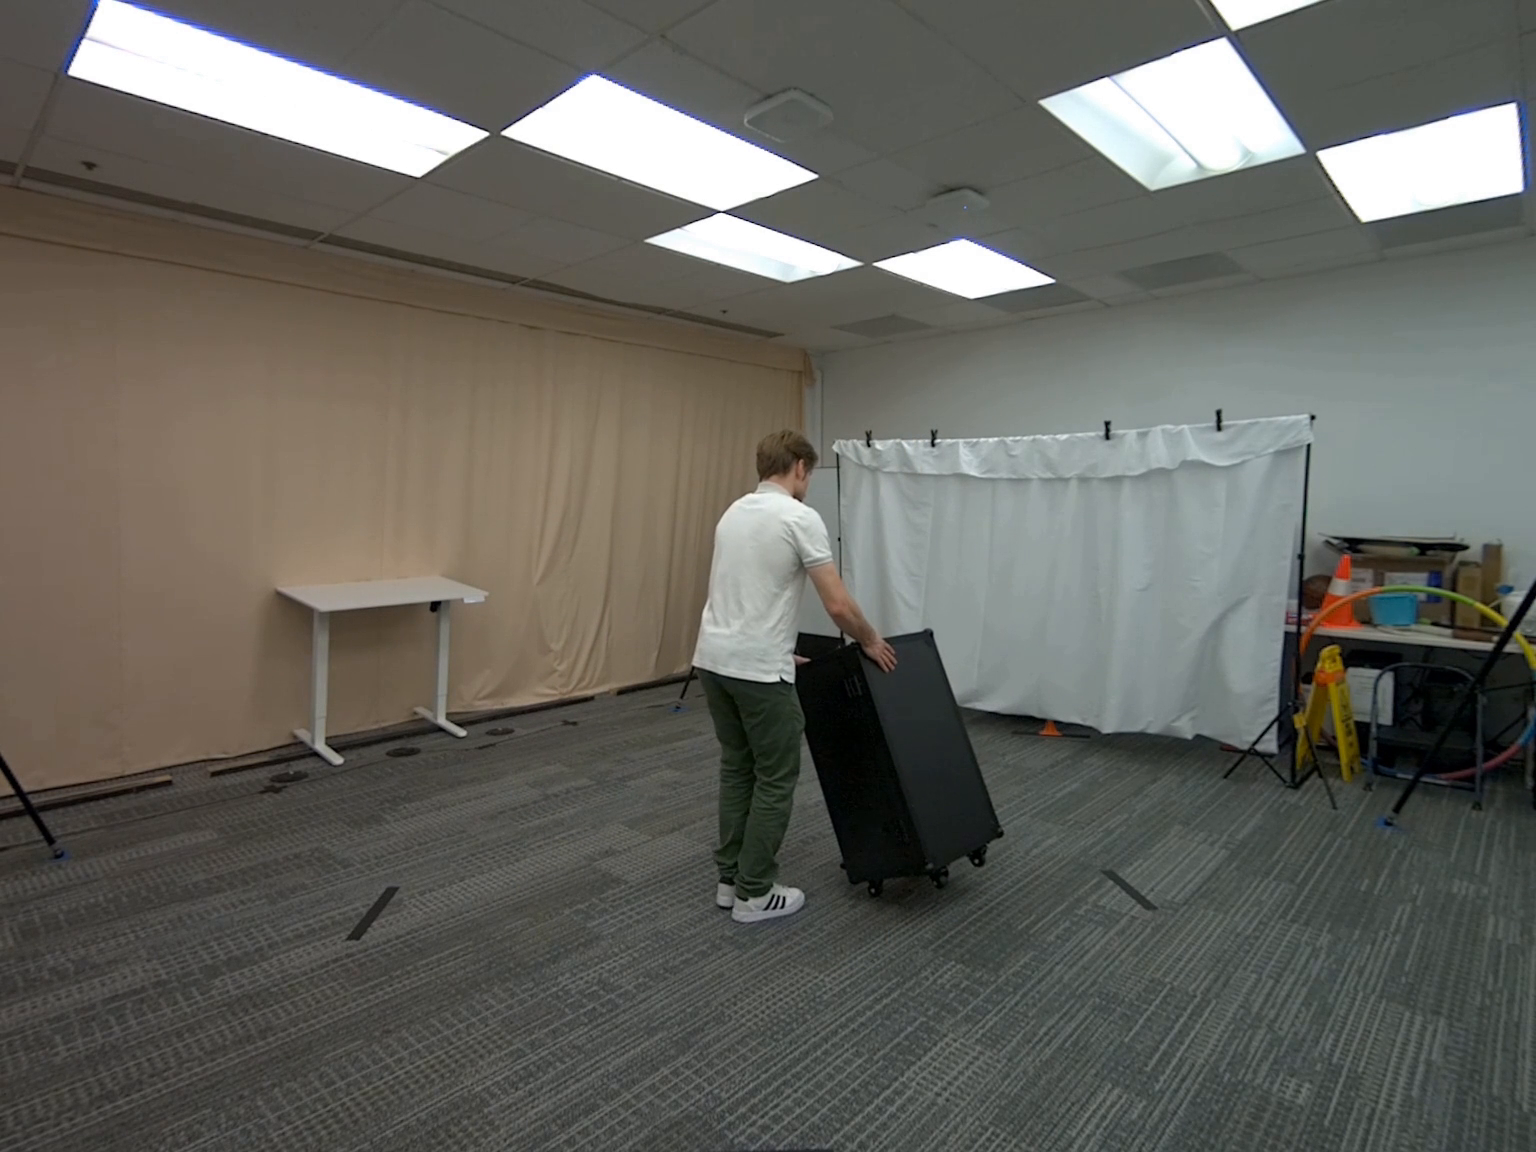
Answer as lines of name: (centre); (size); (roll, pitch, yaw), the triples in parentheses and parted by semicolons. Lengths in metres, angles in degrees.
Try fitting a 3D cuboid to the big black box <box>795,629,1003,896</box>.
big black box: (0.463, 0.681, 3.091); (0.507, 0.880, 0.392); (-3, -20, -45)
